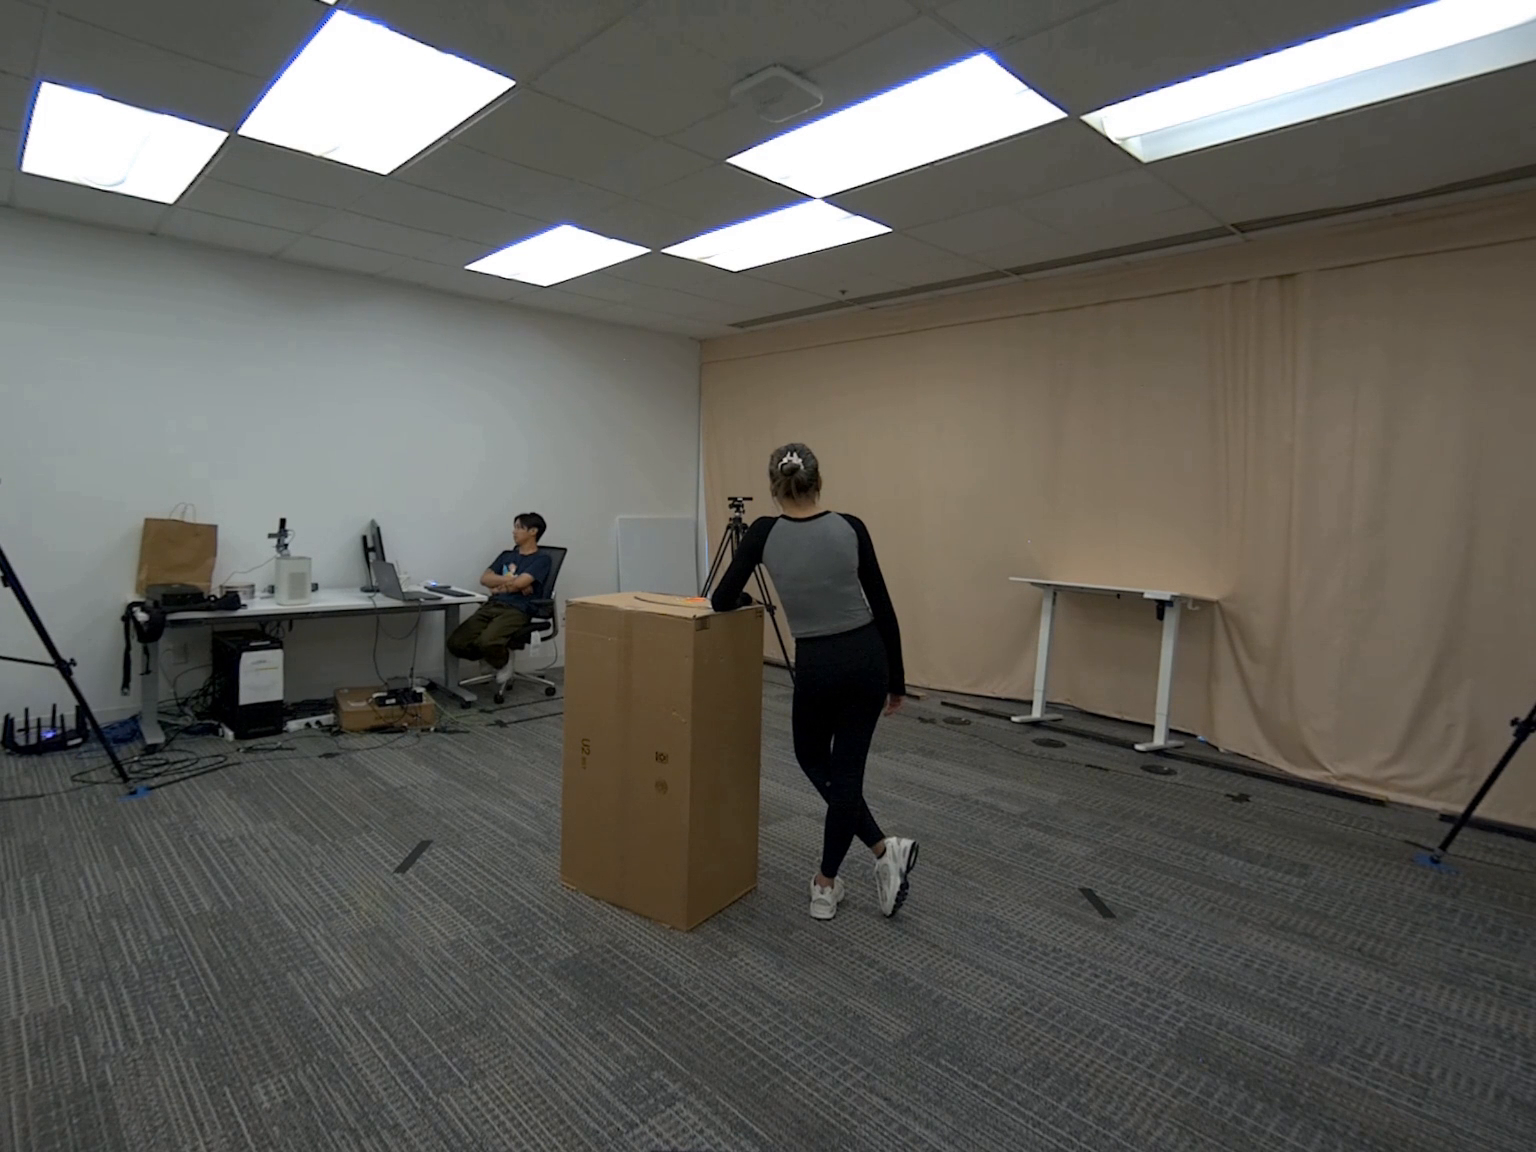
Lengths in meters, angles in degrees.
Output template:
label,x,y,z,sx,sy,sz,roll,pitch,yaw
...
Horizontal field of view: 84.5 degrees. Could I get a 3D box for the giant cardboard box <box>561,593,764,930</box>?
label,x,y,z,sx,sy,sz,roll,pitch,yaw
giant cardboard box,-0.383,0.604,2.999,0.591,1.023,0.417,4,4,34
